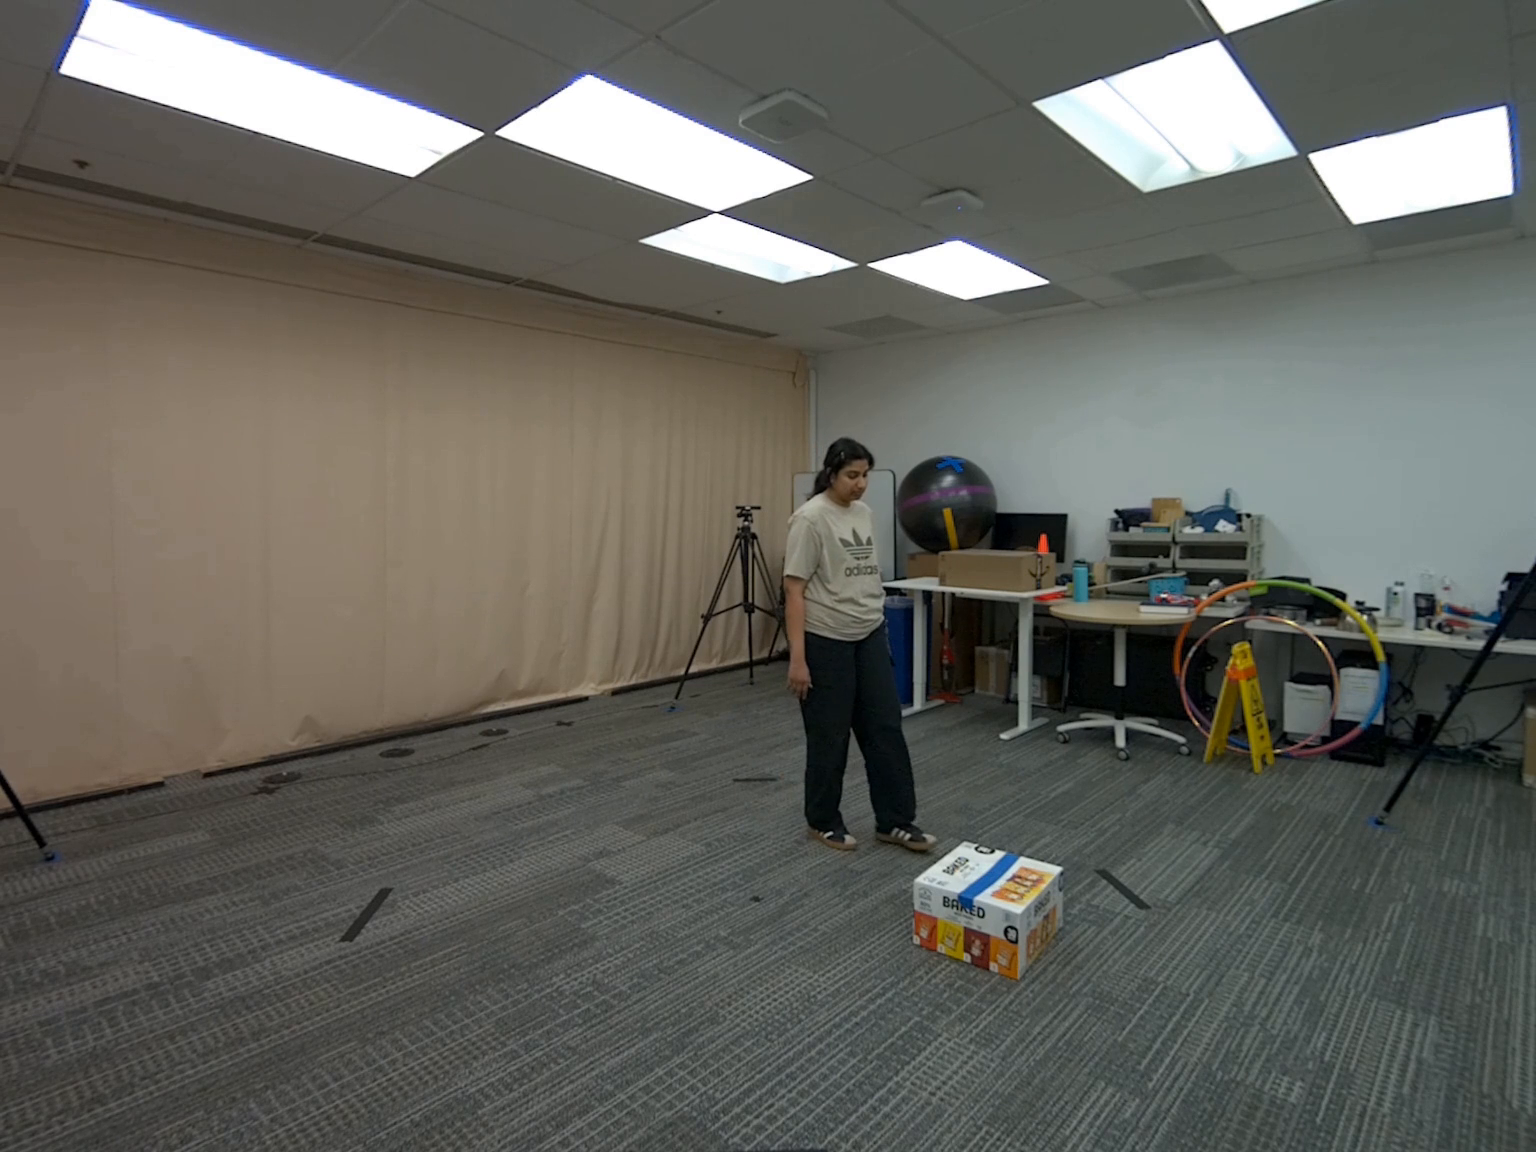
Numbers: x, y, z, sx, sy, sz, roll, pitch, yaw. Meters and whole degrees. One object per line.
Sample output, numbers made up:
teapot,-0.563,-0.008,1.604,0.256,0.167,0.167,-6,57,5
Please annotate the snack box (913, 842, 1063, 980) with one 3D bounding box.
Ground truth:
snack box,0.724,1.064,2.716,0.351,0.205,0.393,3,6,37
